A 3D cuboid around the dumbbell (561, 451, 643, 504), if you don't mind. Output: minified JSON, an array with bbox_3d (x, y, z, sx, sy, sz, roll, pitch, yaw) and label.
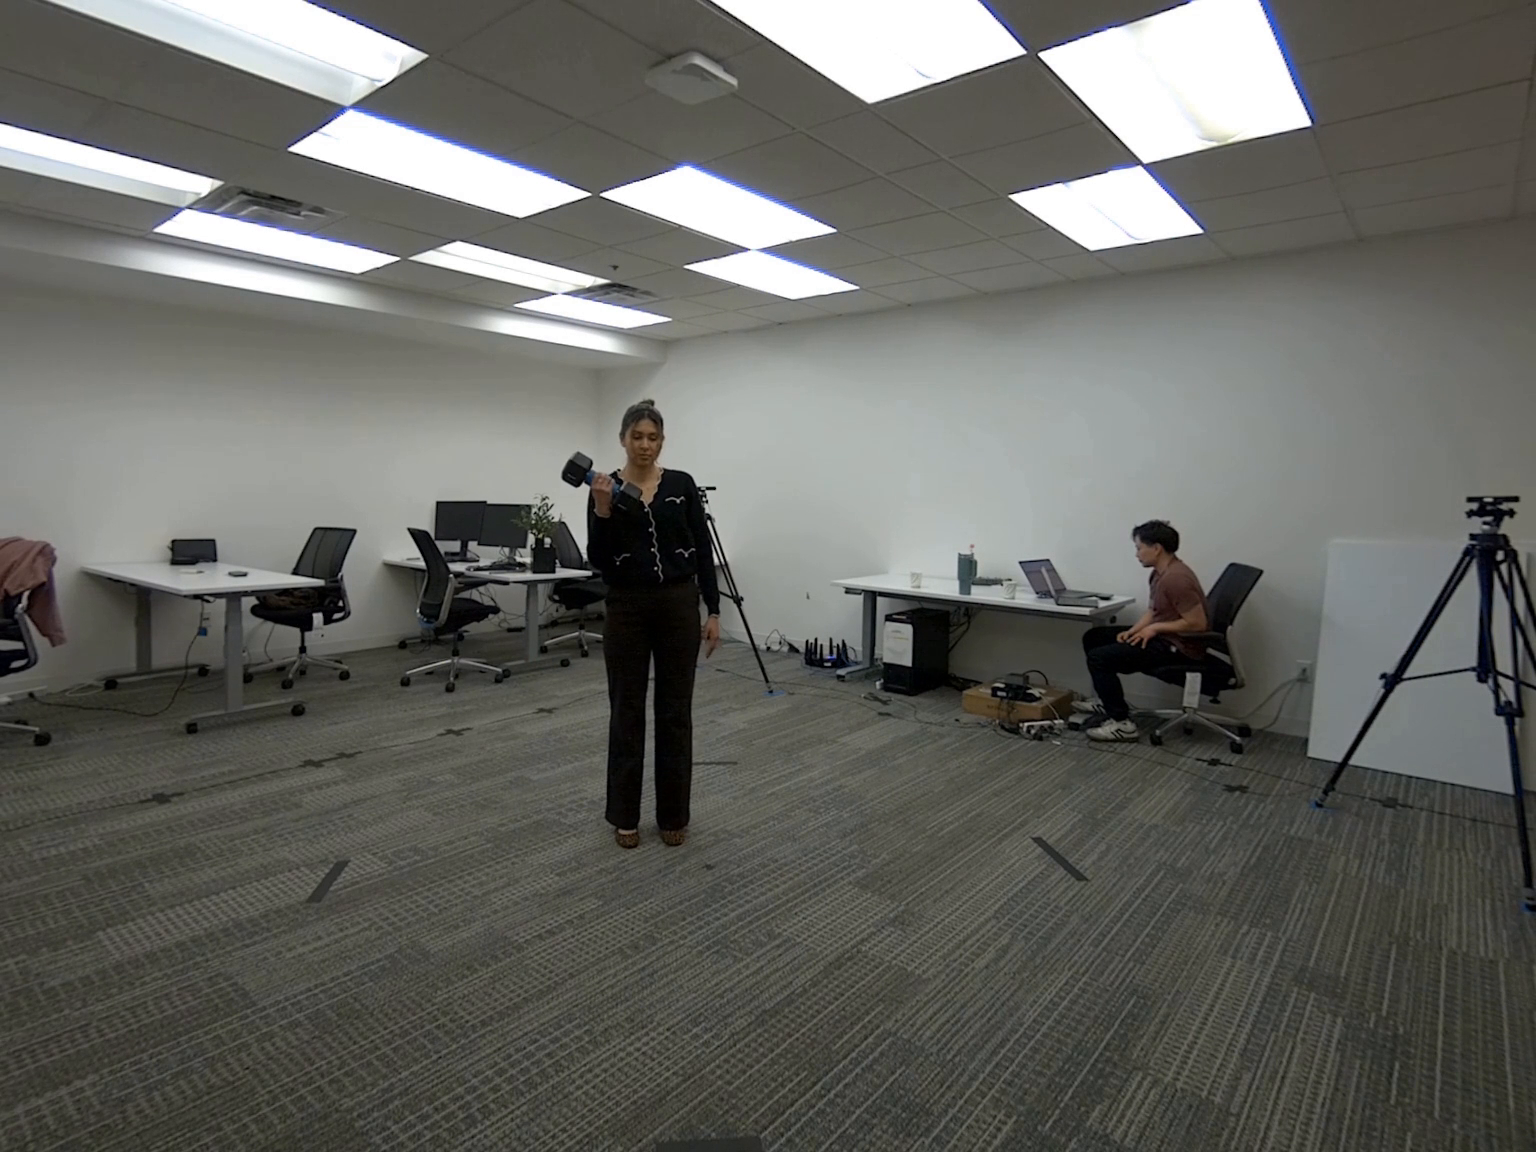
[{"bbox_3d":[-0.632,-0.336,3.119,0.291,0.109,0.123,32,-27,-6],"label":"dumbbell"}]
